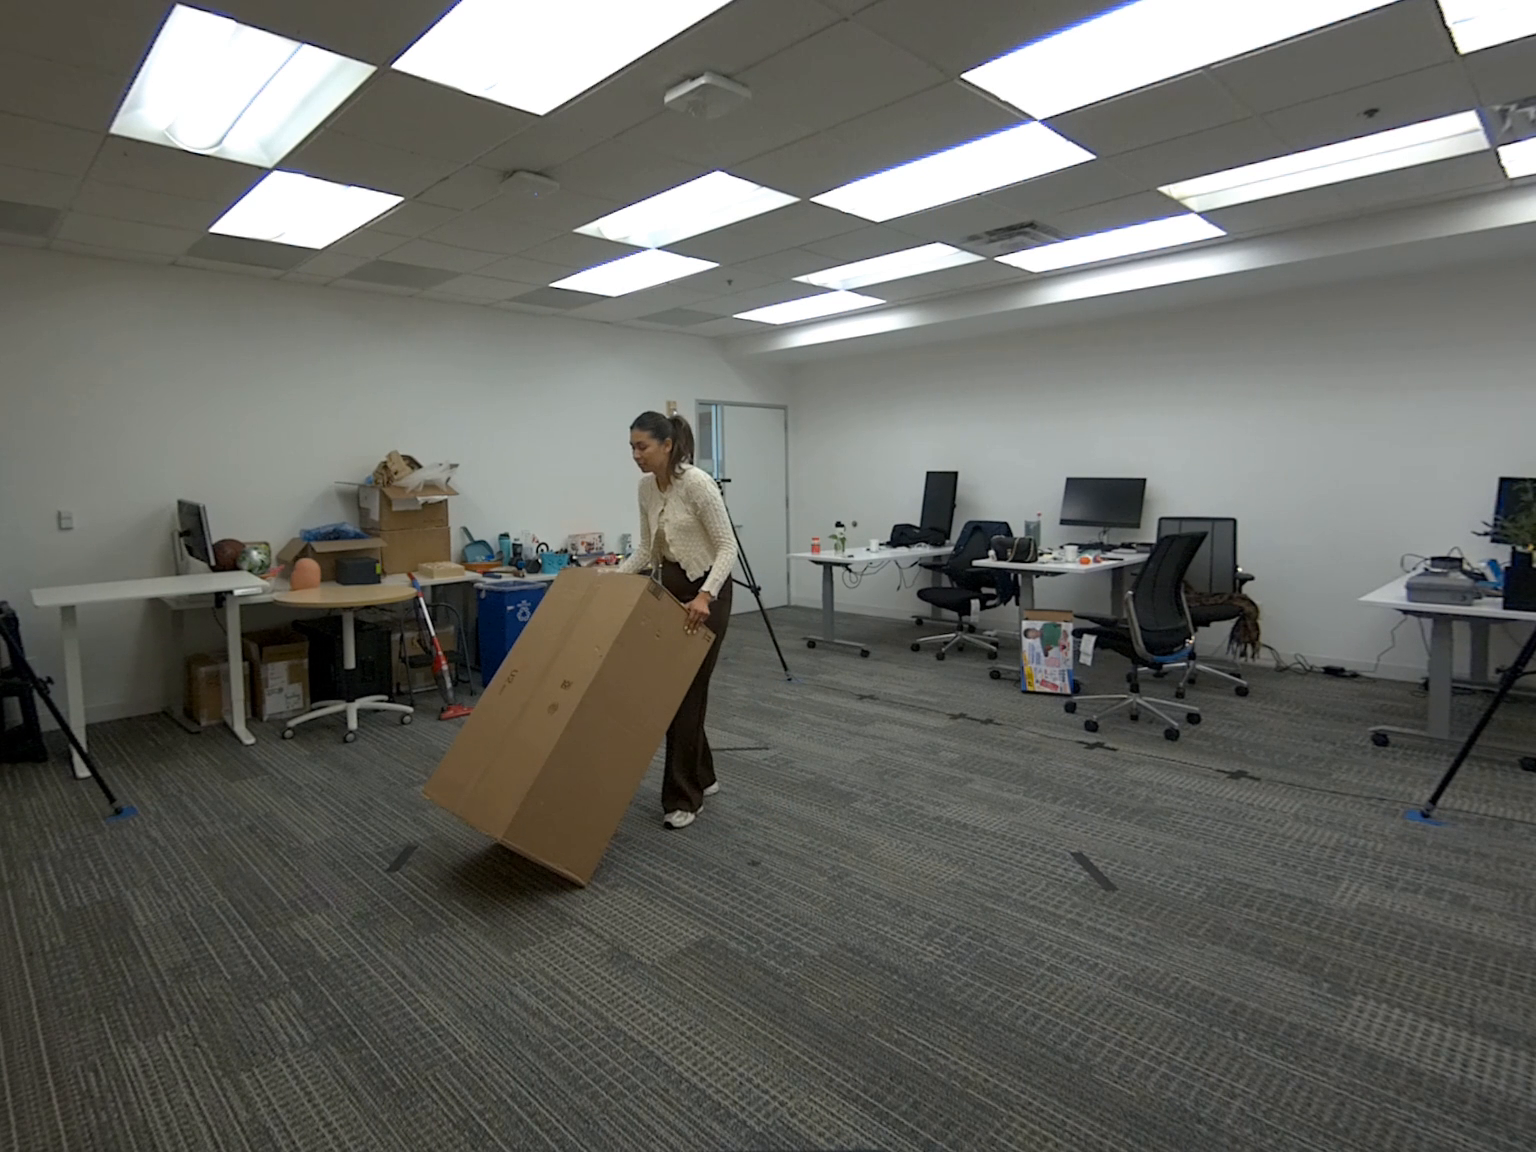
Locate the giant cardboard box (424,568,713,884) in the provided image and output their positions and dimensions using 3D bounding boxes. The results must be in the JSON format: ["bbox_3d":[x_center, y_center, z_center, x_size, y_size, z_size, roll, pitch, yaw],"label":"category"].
[{"bbox_3d":[-0.740,0.518,3.218,0.595,1.033,0.410,4,-32,44],"label":"giant cardboard box"}]
